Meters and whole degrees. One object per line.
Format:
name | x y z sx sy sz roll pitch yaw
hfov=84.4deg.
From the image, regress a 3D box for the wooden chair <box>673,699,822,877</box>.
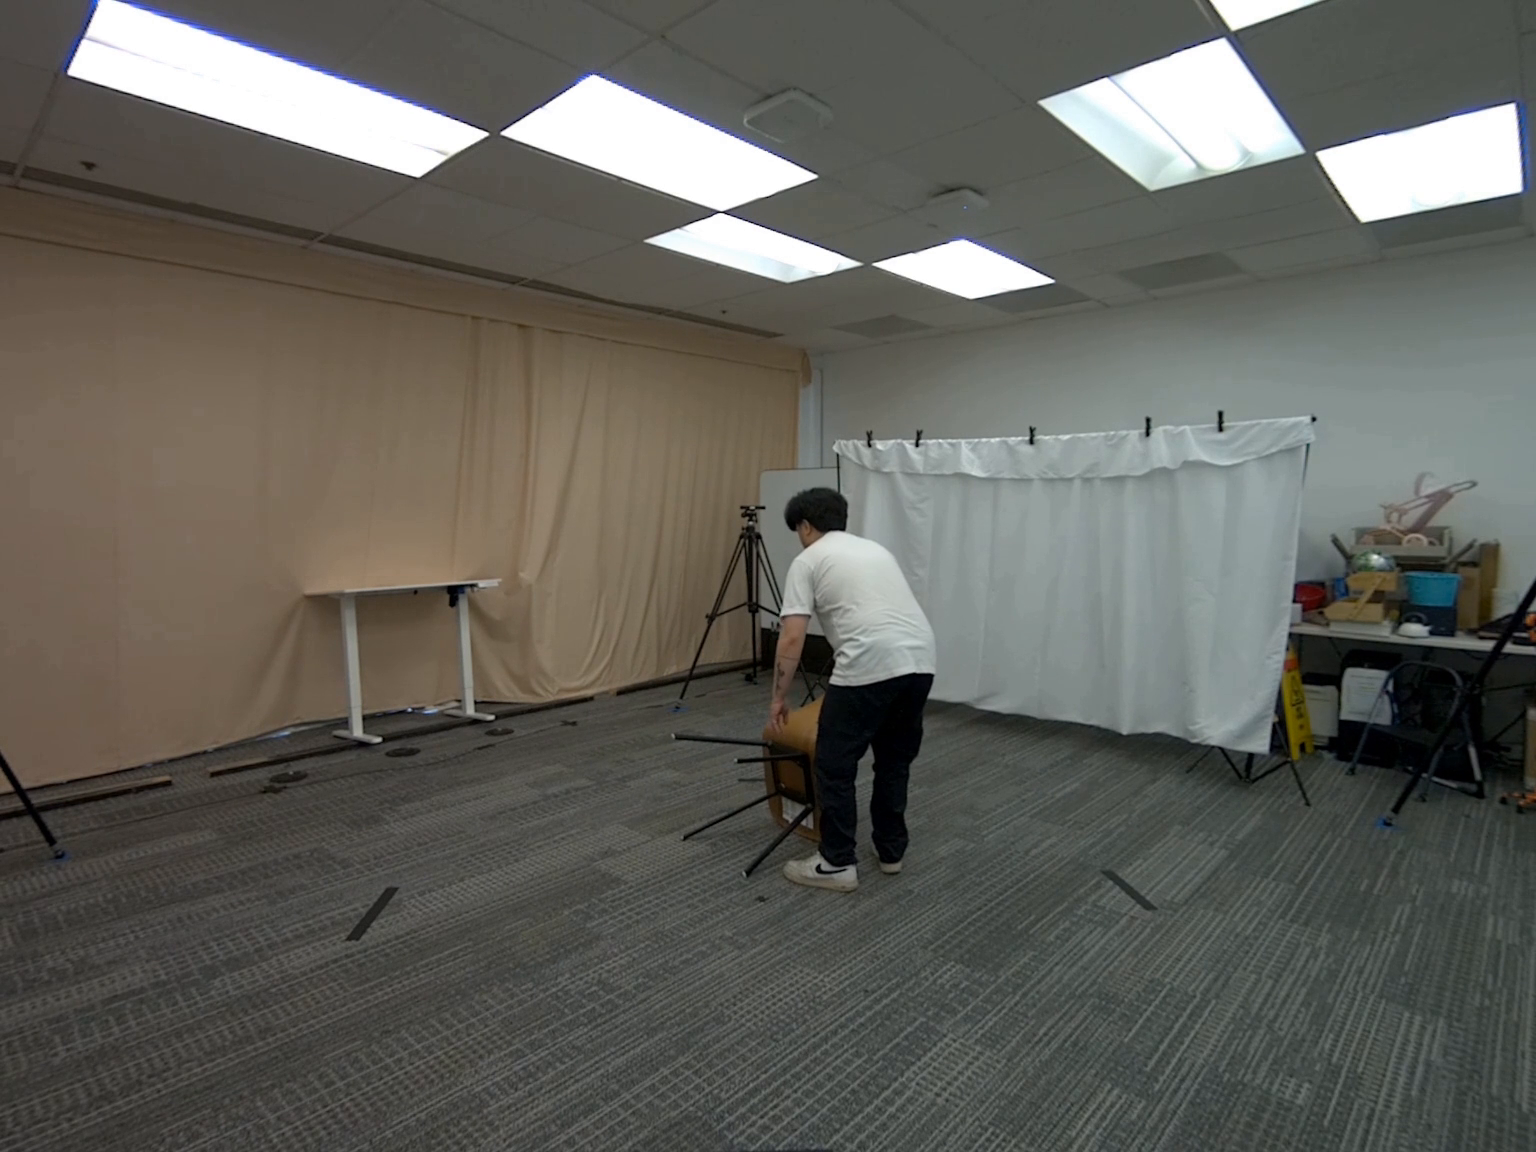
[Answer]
wooden chair | 0.094 0.840 3.554 0.855 0.520 0.493 -14 11 -36
